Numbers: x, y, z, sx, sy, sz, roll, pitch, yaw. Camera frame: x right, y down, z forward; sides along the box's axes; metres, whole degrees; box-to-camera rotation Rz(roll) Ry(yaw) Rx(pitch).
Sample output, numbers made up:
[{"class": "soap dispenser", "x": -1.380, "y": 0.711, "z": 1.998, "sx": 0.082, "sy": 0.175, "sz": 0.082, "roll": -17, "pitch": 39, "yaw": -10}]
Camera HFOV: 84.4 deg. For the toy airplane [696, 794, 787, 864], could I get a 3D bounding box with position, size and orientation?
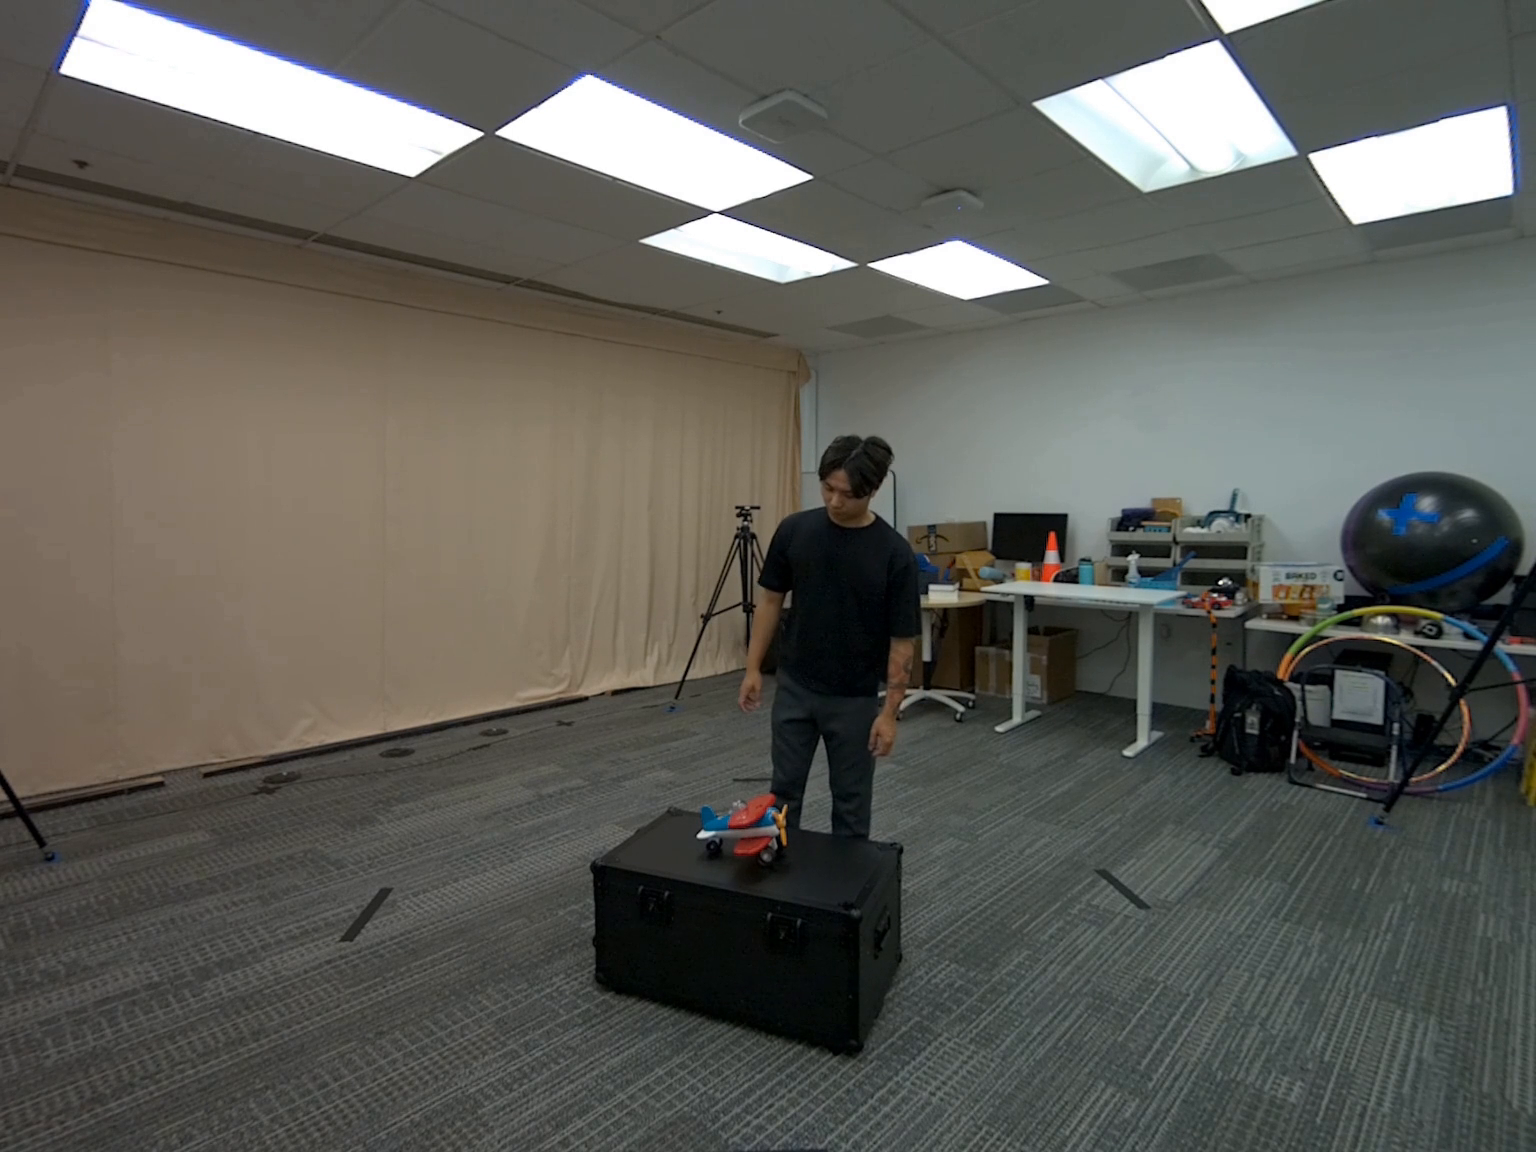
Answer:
[{"class": "toy airplane", "x": -0.073, "y": 0.739, "z": 2.437, "sx": 0.257, "sy": 0.156, "sz": 0.253, "roll": 0, "pitch": 4, "yaw": -7}]
